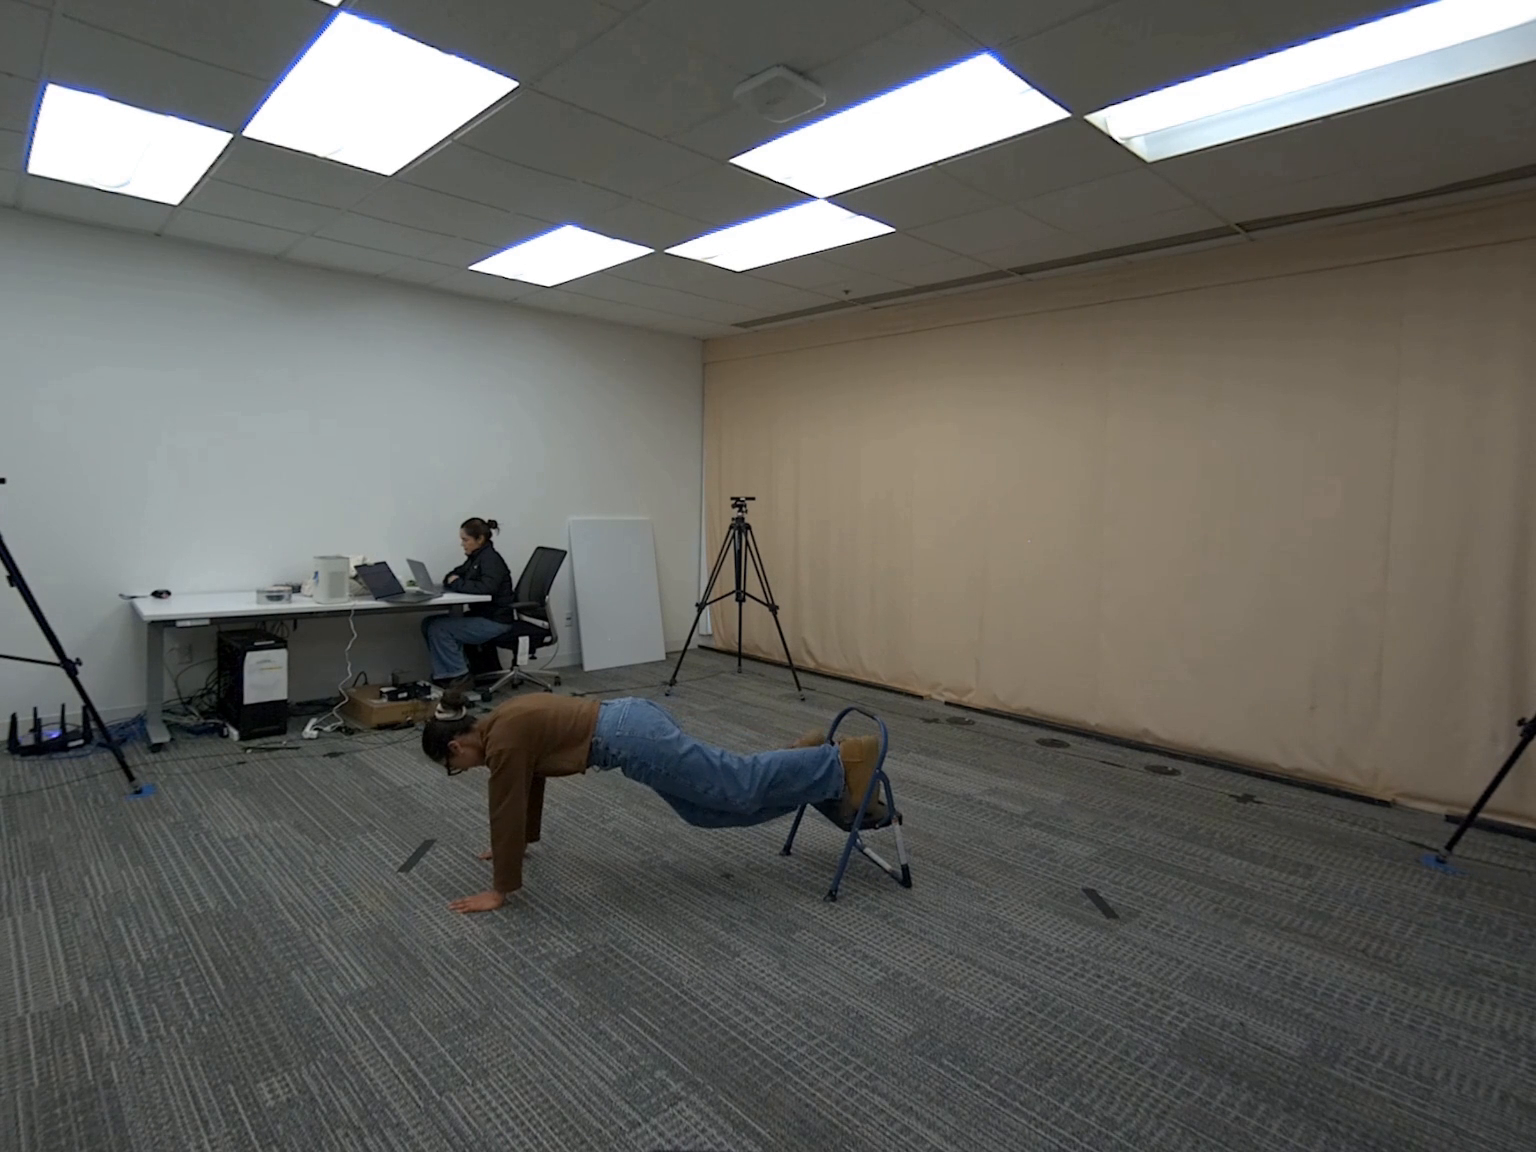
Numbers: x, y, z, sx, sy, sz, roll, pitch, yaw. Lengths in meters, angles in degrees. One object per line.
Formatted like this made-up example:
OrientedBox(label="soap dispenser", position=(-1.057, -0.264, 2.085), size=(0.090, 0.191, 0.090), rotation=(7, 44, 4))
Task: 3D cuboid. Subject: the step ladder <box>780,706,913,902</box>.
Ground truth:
OrientedBox(label="step ladder", position=(0.289, 0.812, 3.158), size=(0.343, 0.604, 0.439), rotation=(0, 4, -22))
